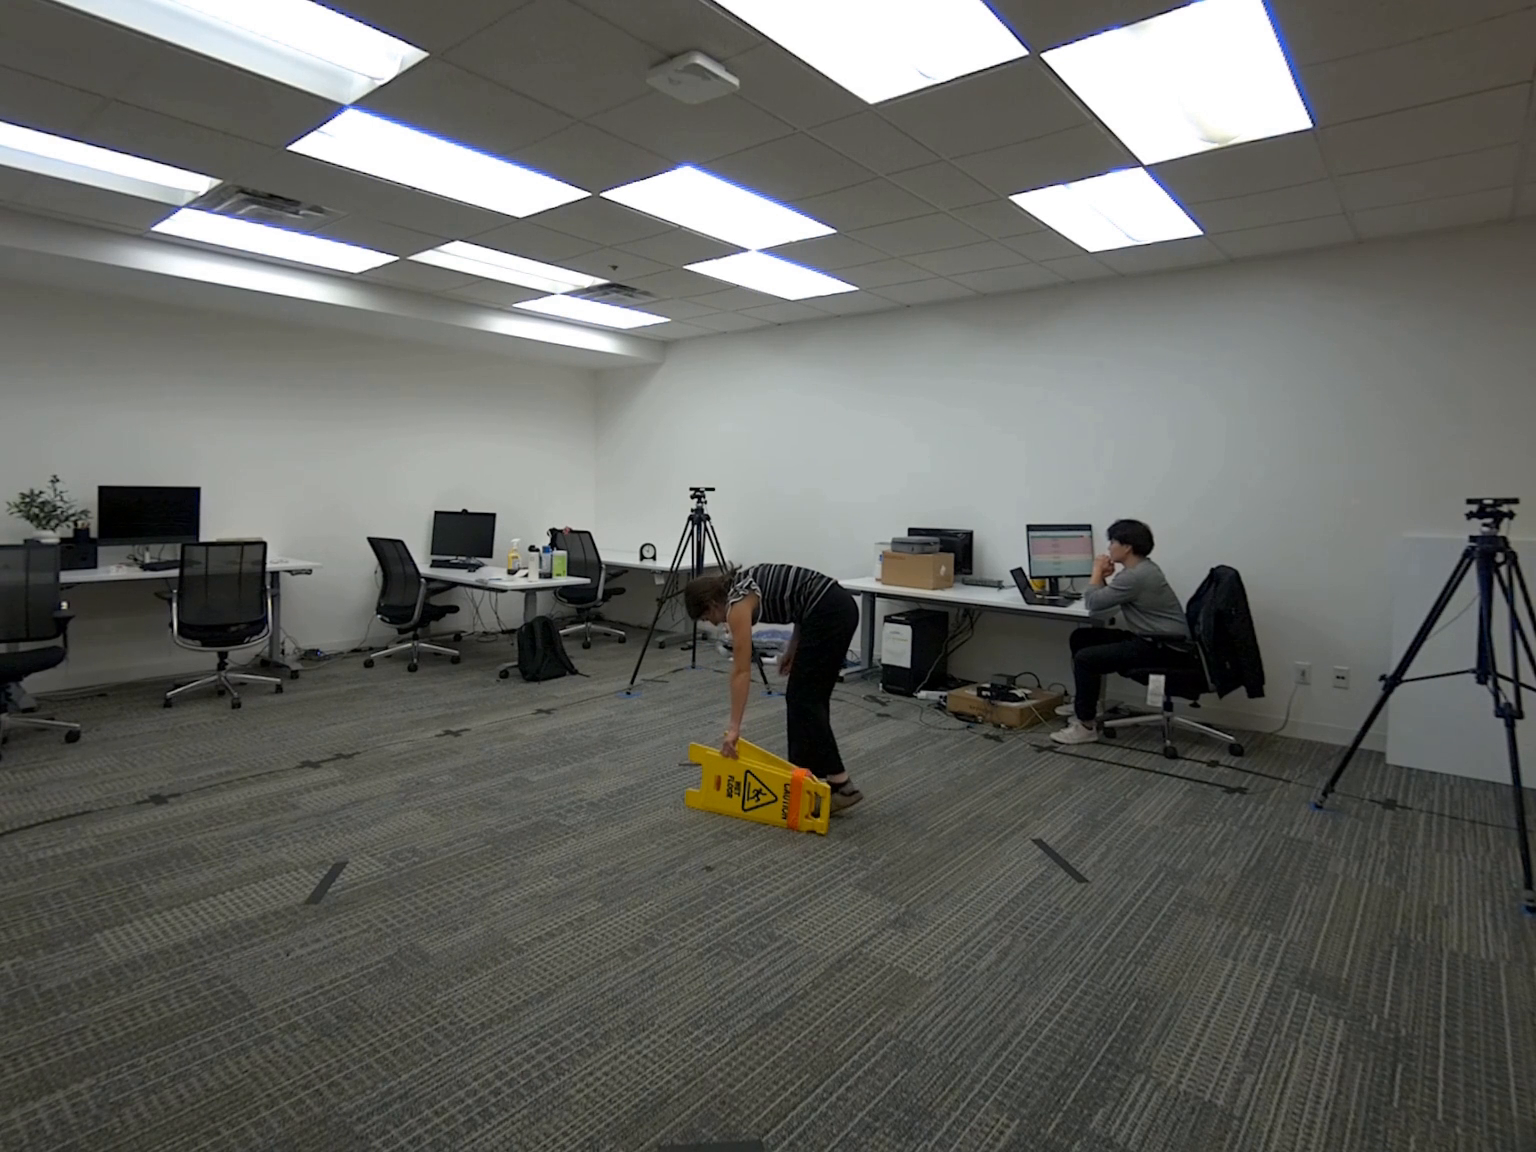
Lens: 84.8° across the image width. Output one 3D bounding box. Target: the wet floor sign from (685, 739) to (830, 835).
[{"bbox_3d":[-0.025,0.895,3.624,0.669,0.281,0.281,9,7,37],"label":"wet floor sign"}]
